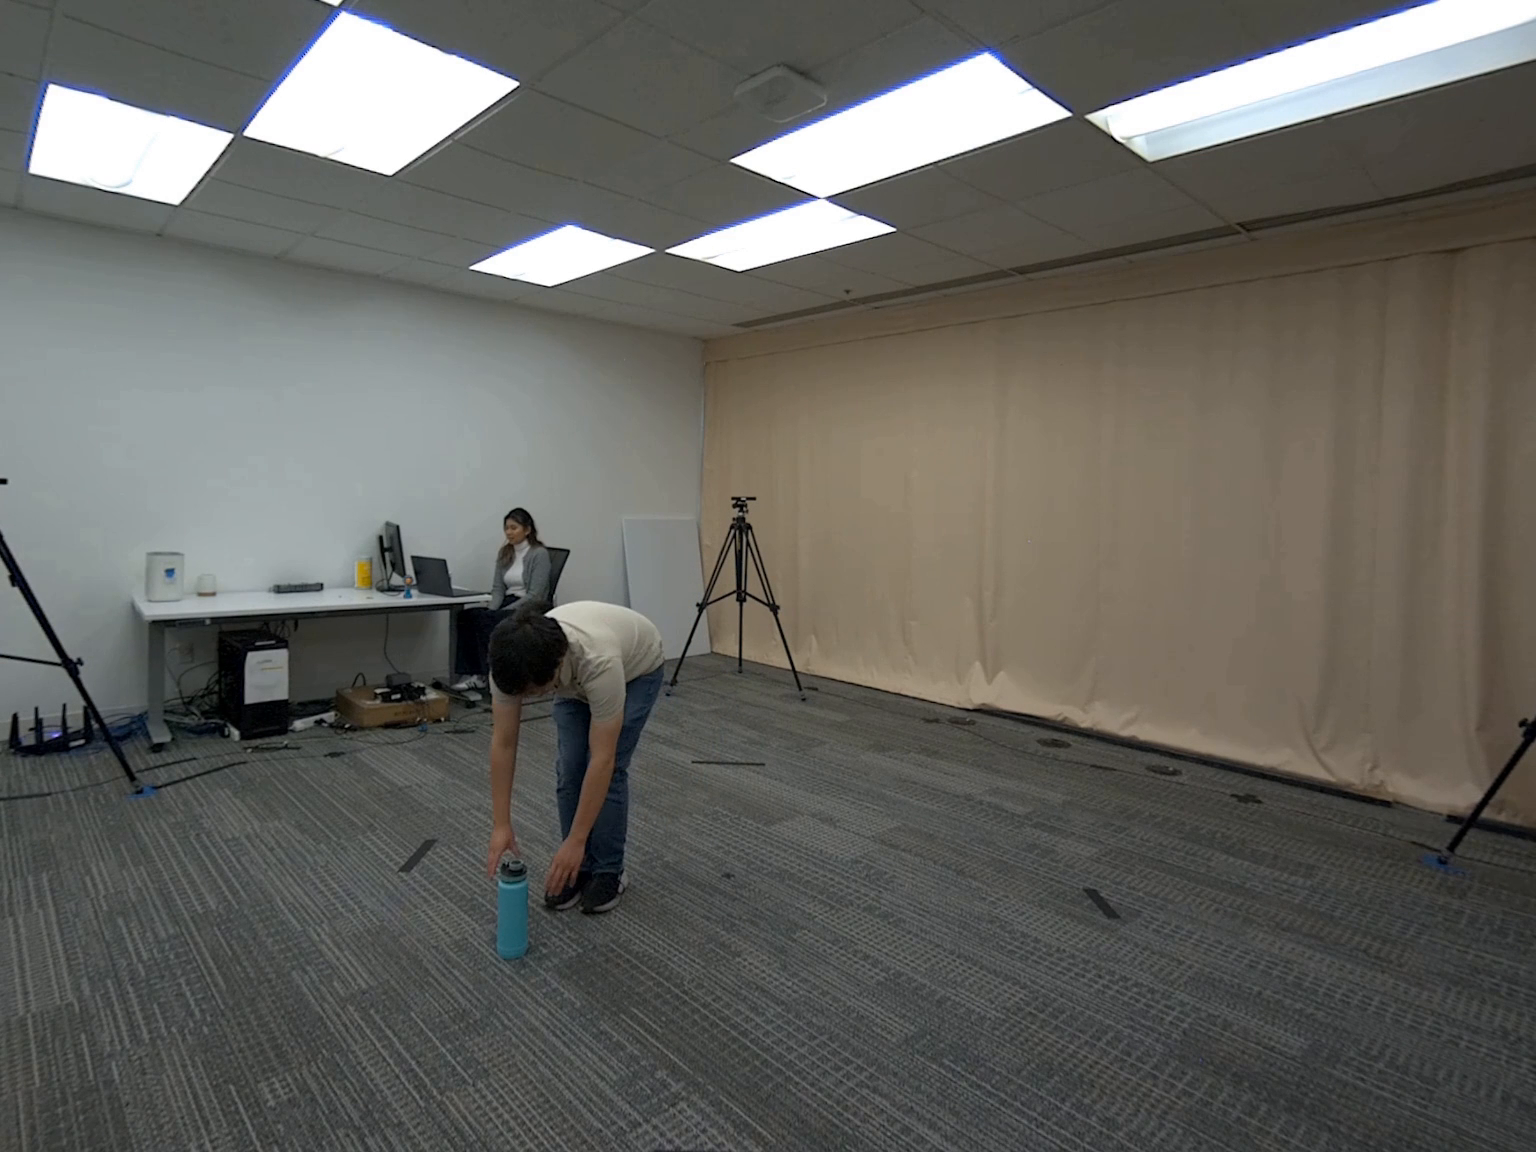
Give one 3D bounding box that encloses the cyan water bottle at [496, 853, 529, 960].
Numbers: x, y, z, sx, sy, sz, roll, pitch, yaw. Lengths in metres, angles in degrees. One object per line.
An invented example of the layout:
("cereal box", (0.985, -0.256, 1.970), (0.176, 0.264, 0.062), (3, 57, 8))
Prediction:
("cyan water bottle", (-0.787, 1.006, 2.550), (0.092, 0.283, 0.092), (1, 2, -1))
